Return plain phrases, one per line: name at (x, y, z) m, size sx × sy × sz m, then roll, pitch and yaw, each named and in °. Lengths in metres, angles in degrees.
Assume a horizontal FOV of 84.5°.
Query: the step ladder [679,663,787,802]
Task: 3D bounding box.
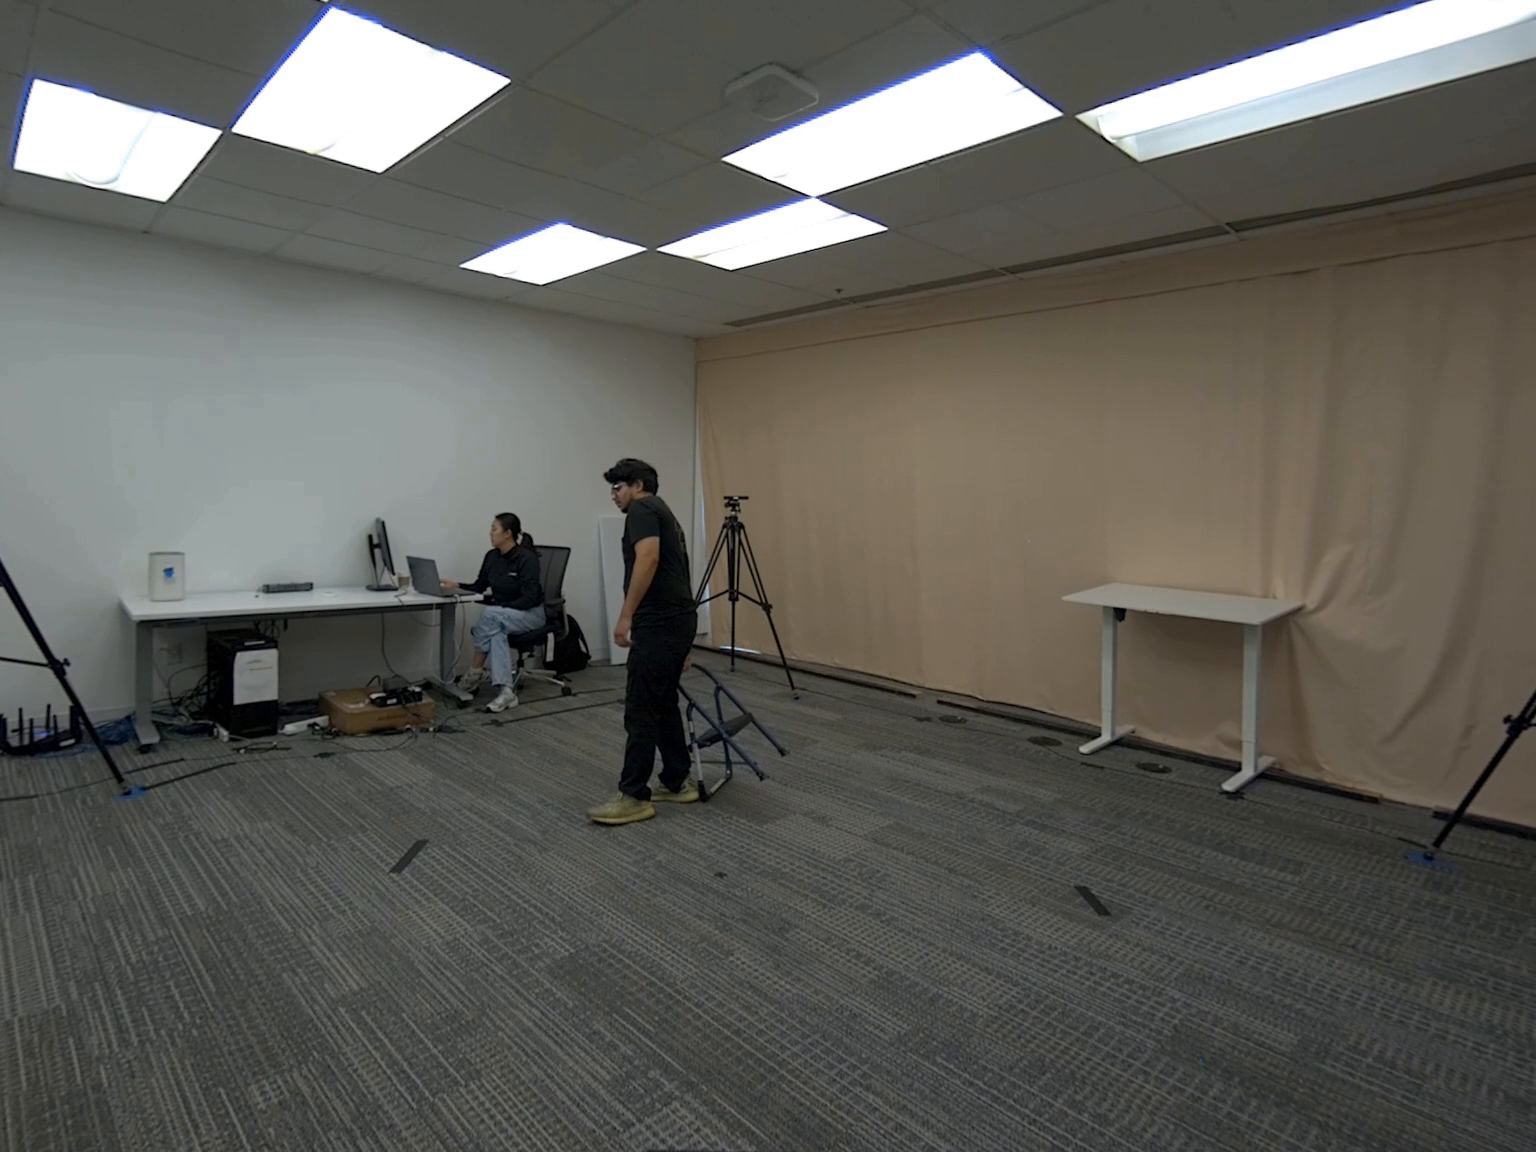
step ladder at (-0.239, 0.684, 4.034) m, size 0.351 × 0.609 × 0.426 m, roll -26°, pitch -5°, yaw 14°
